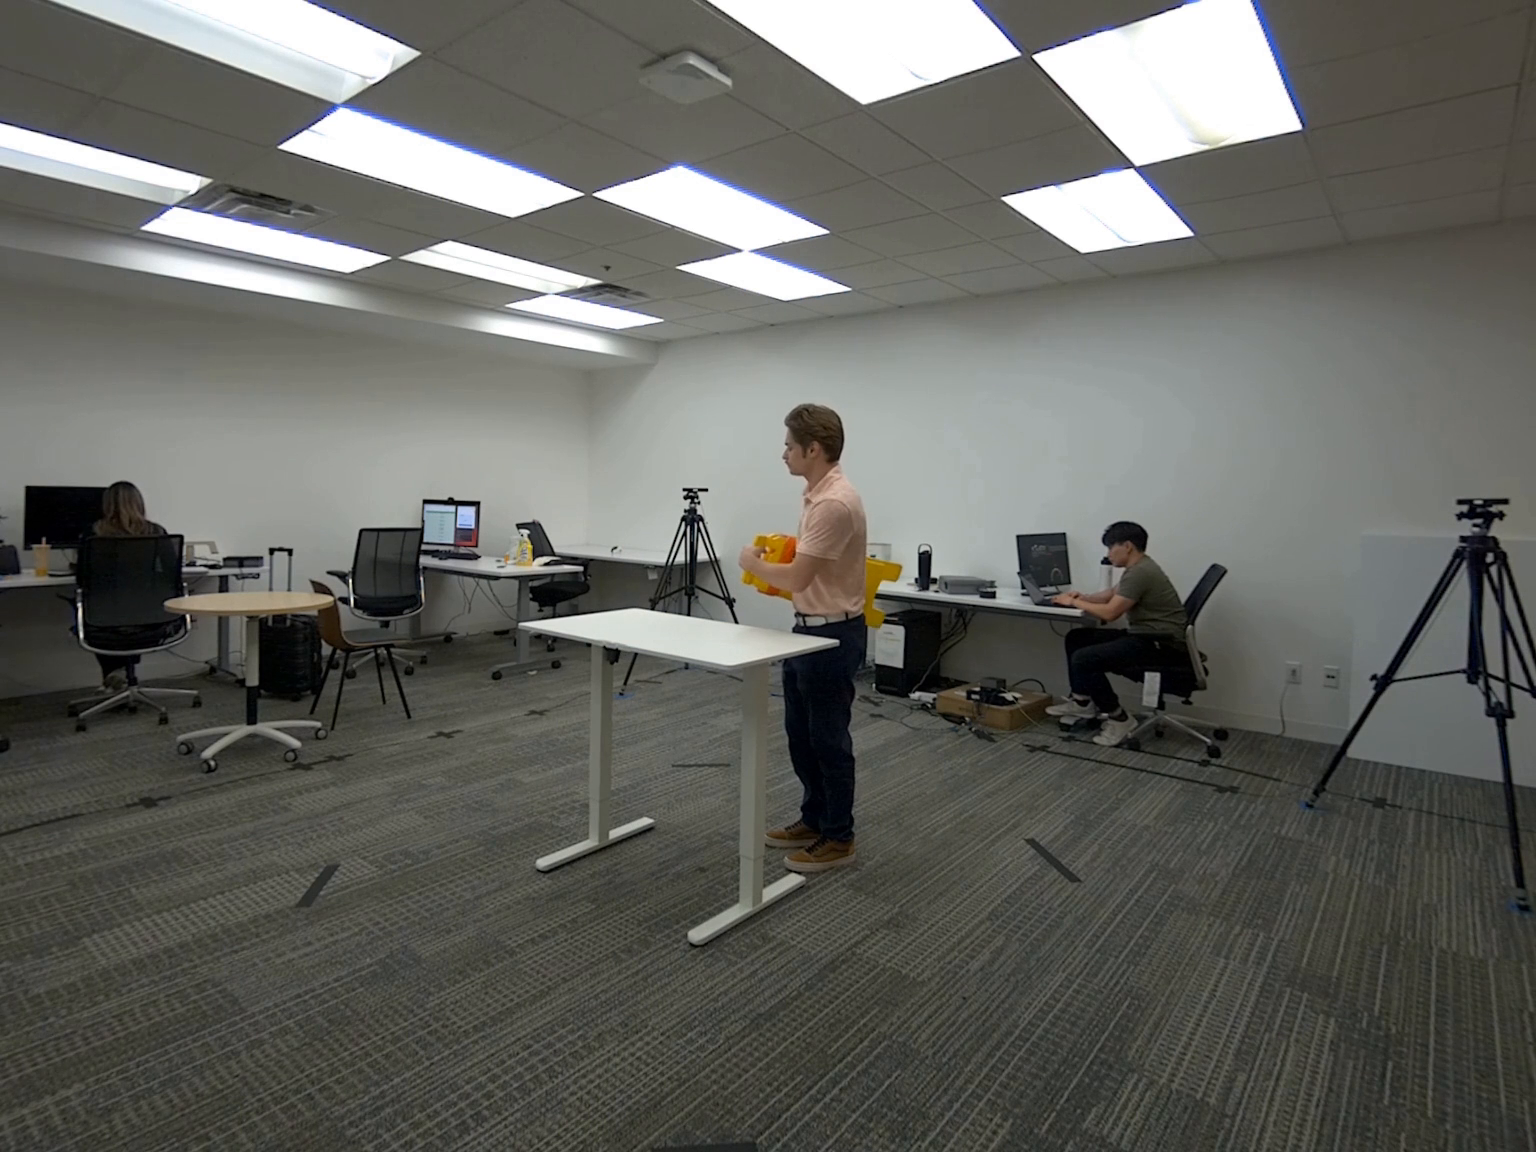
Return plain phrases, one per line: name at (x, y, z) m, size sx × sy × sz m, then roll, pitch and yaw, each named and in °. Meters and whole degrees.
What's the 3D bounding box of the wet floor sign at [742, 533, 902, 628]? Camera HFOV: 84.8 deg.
wet floor sign at (0.171, -0.010, 3.380) m, size 0.625 × 0.281 × 0.301 m, roll 13°, pitch 10°, yaw -32°
